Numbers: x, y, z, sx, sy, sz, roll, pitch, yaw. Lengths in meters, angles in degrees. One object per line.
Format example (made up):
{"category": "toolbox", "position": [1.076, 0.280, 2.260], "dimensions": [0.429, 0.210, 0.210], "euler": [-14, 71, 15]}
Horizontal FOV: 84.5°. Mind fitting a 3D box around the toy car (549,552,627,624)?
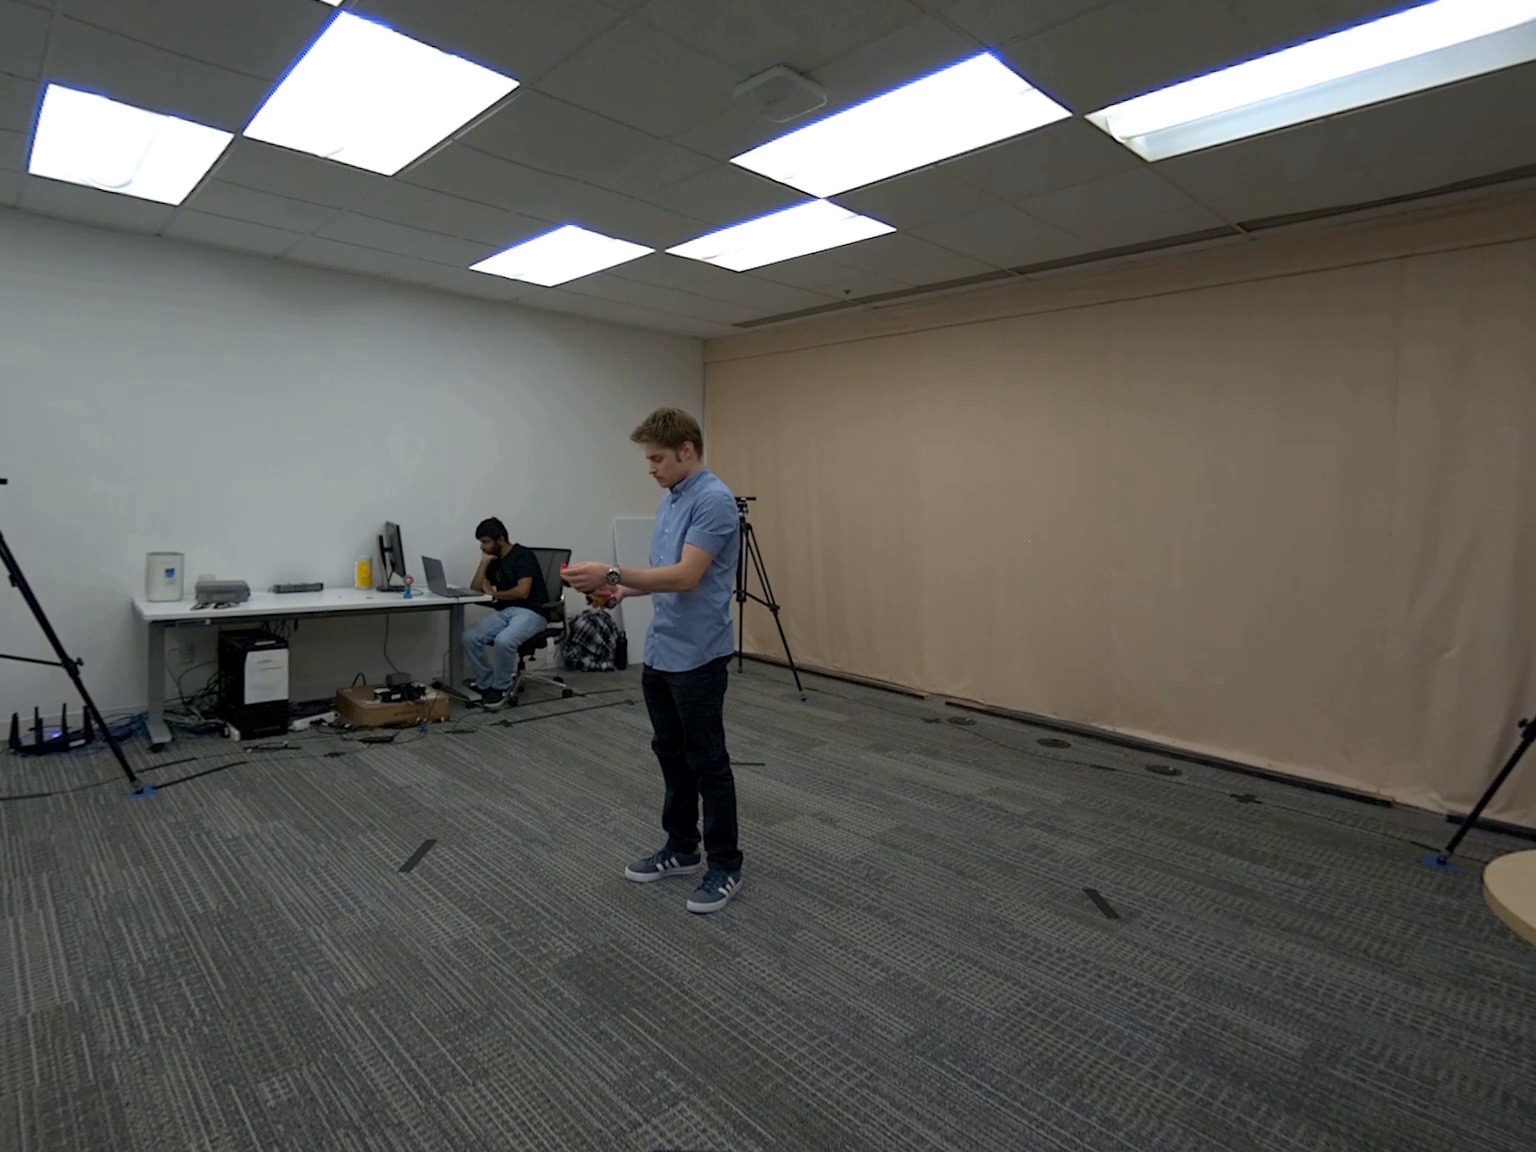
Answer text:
{"category": "toy car", "position": [-0.605, 0.041, 2.843], "dimensions": [0.134, 0.083, 0.247], "euler": [18, -26, 34]}
